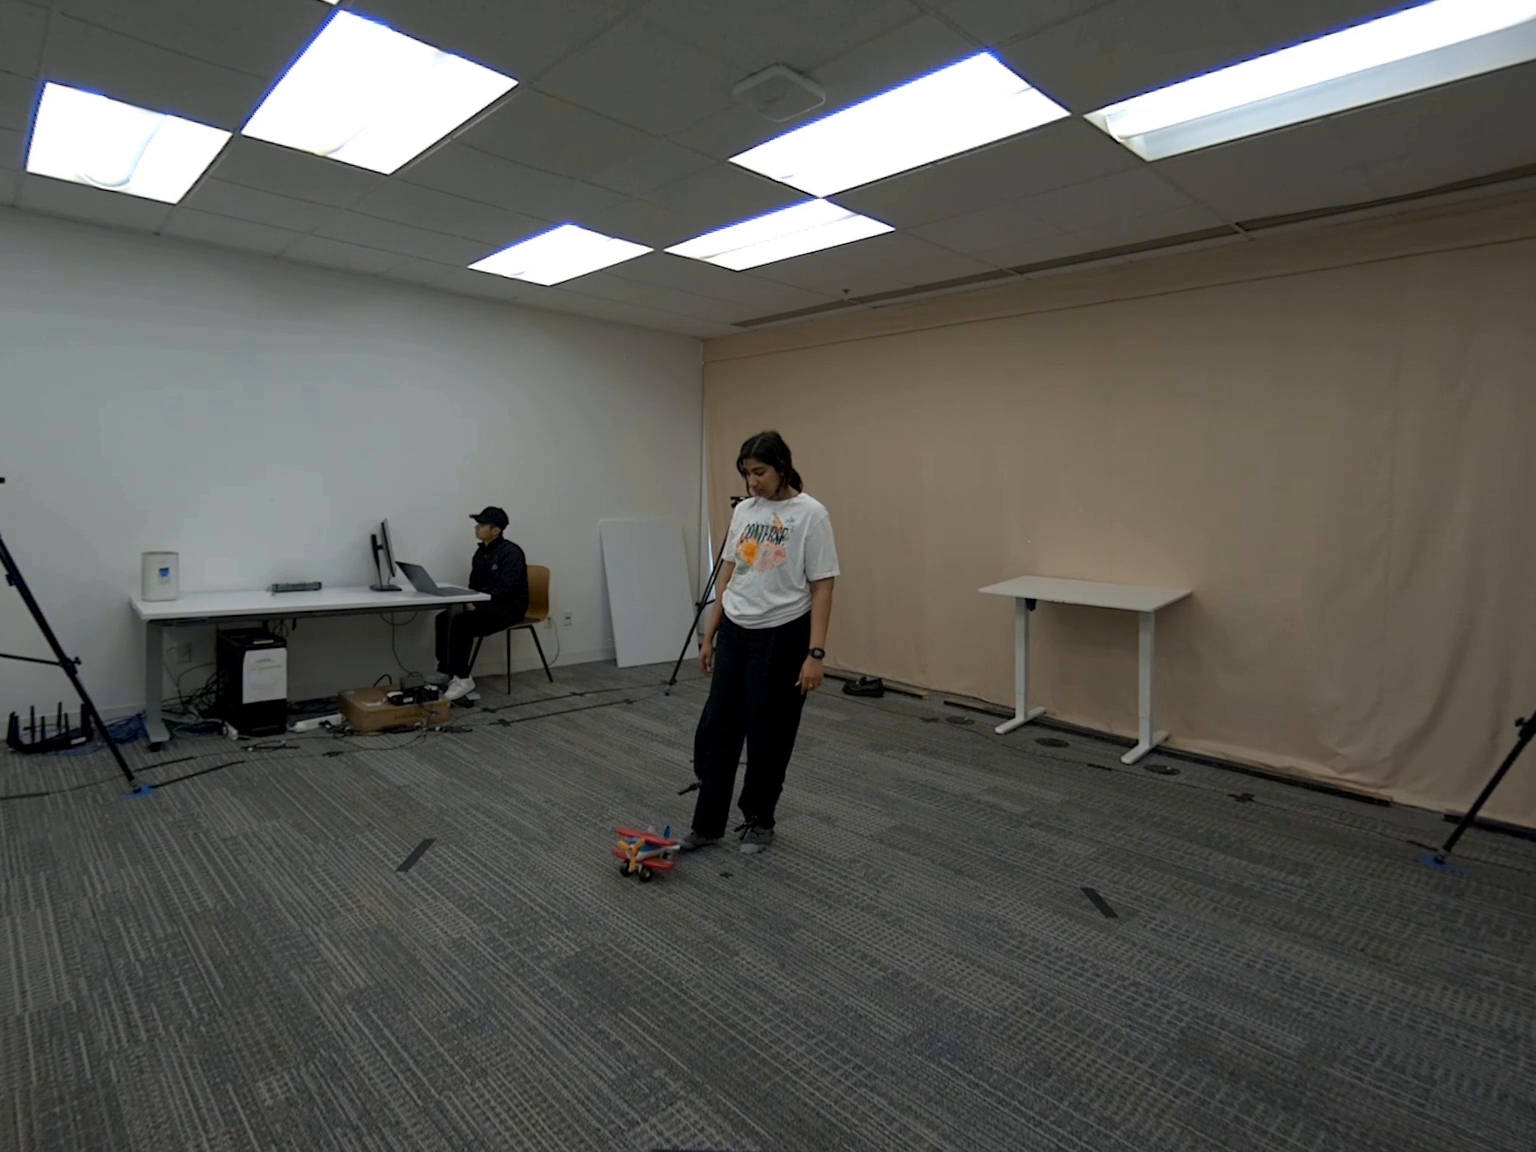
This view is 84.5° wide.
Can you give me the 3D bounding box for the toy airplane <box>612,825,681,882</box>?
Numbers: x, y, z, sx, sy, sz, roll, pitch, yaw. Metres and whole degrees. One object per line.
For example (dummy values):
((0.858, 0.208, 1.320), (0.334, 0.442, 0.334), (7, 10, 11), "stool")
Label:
((-0.467, 1.018, 3.136), (0.251, 0.156, 0.260), (1, 6, -1), "toy airplane")
